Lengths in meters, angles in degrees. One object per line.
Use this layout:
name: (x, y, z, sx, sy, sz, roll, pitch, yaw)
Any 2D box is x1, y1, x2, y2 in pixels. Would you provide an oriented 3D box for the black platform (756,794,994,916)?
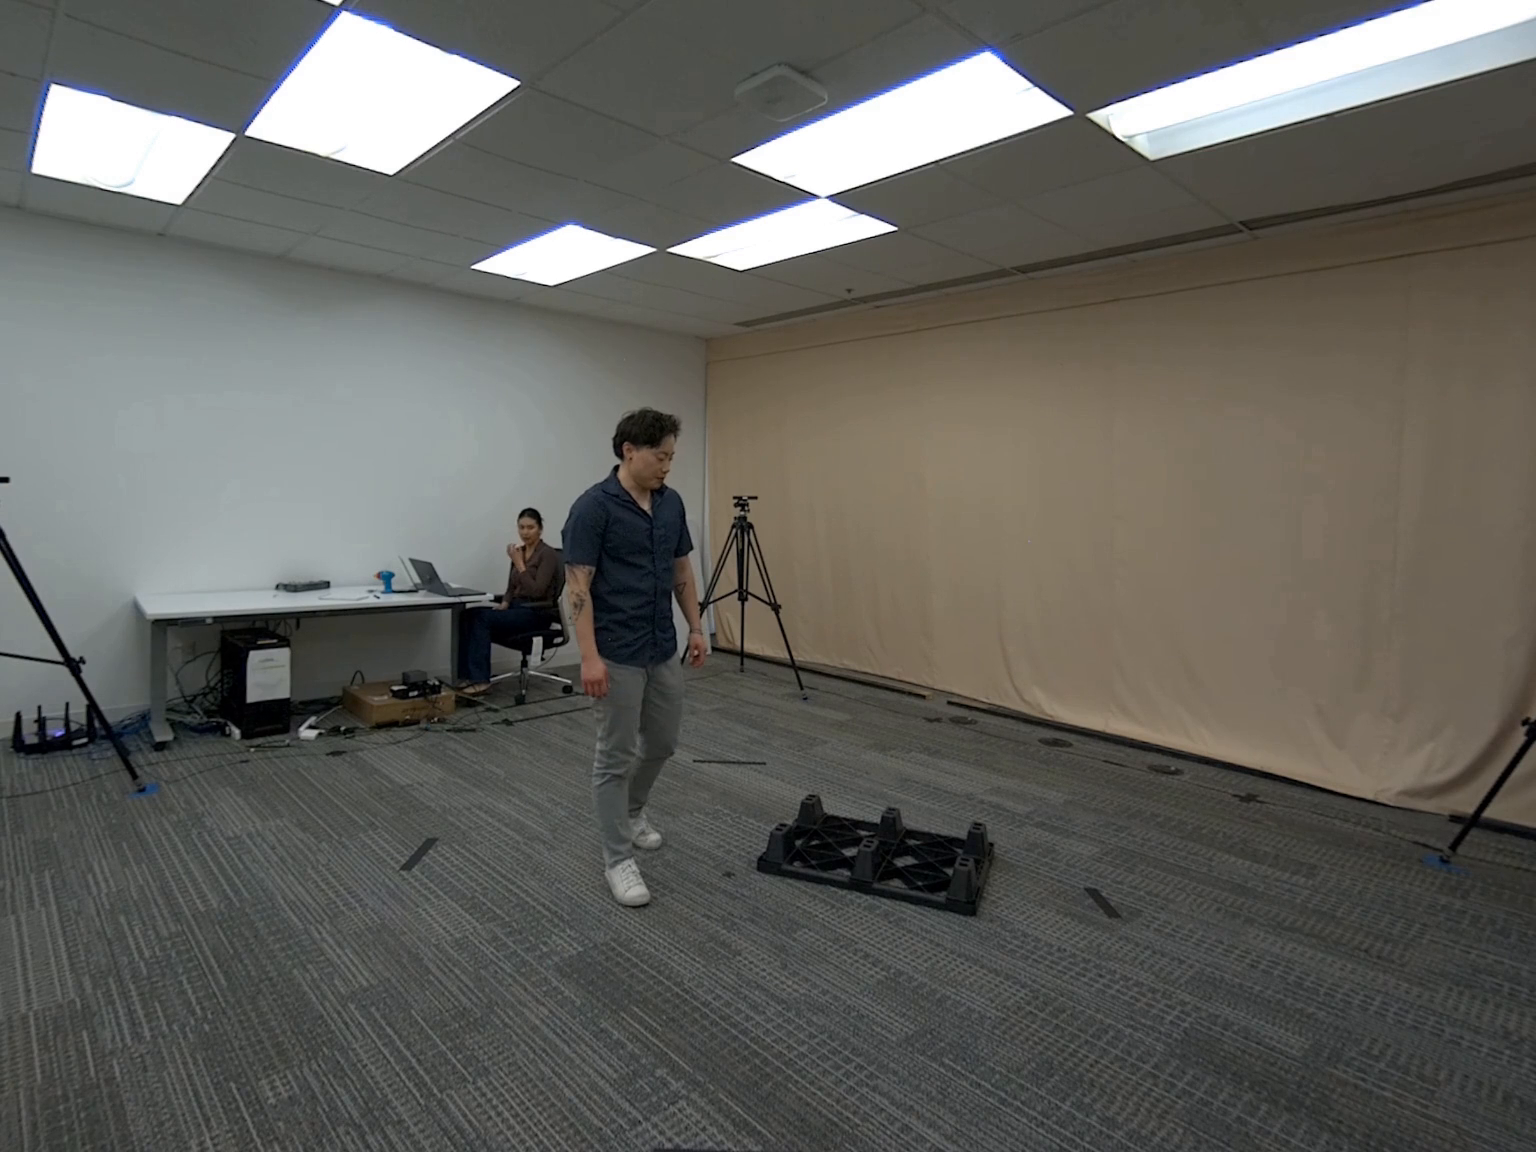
black platform: (0.428, 1.038, 3.260, 0.820, 0.143, 0.596, 4, 6, 22)
